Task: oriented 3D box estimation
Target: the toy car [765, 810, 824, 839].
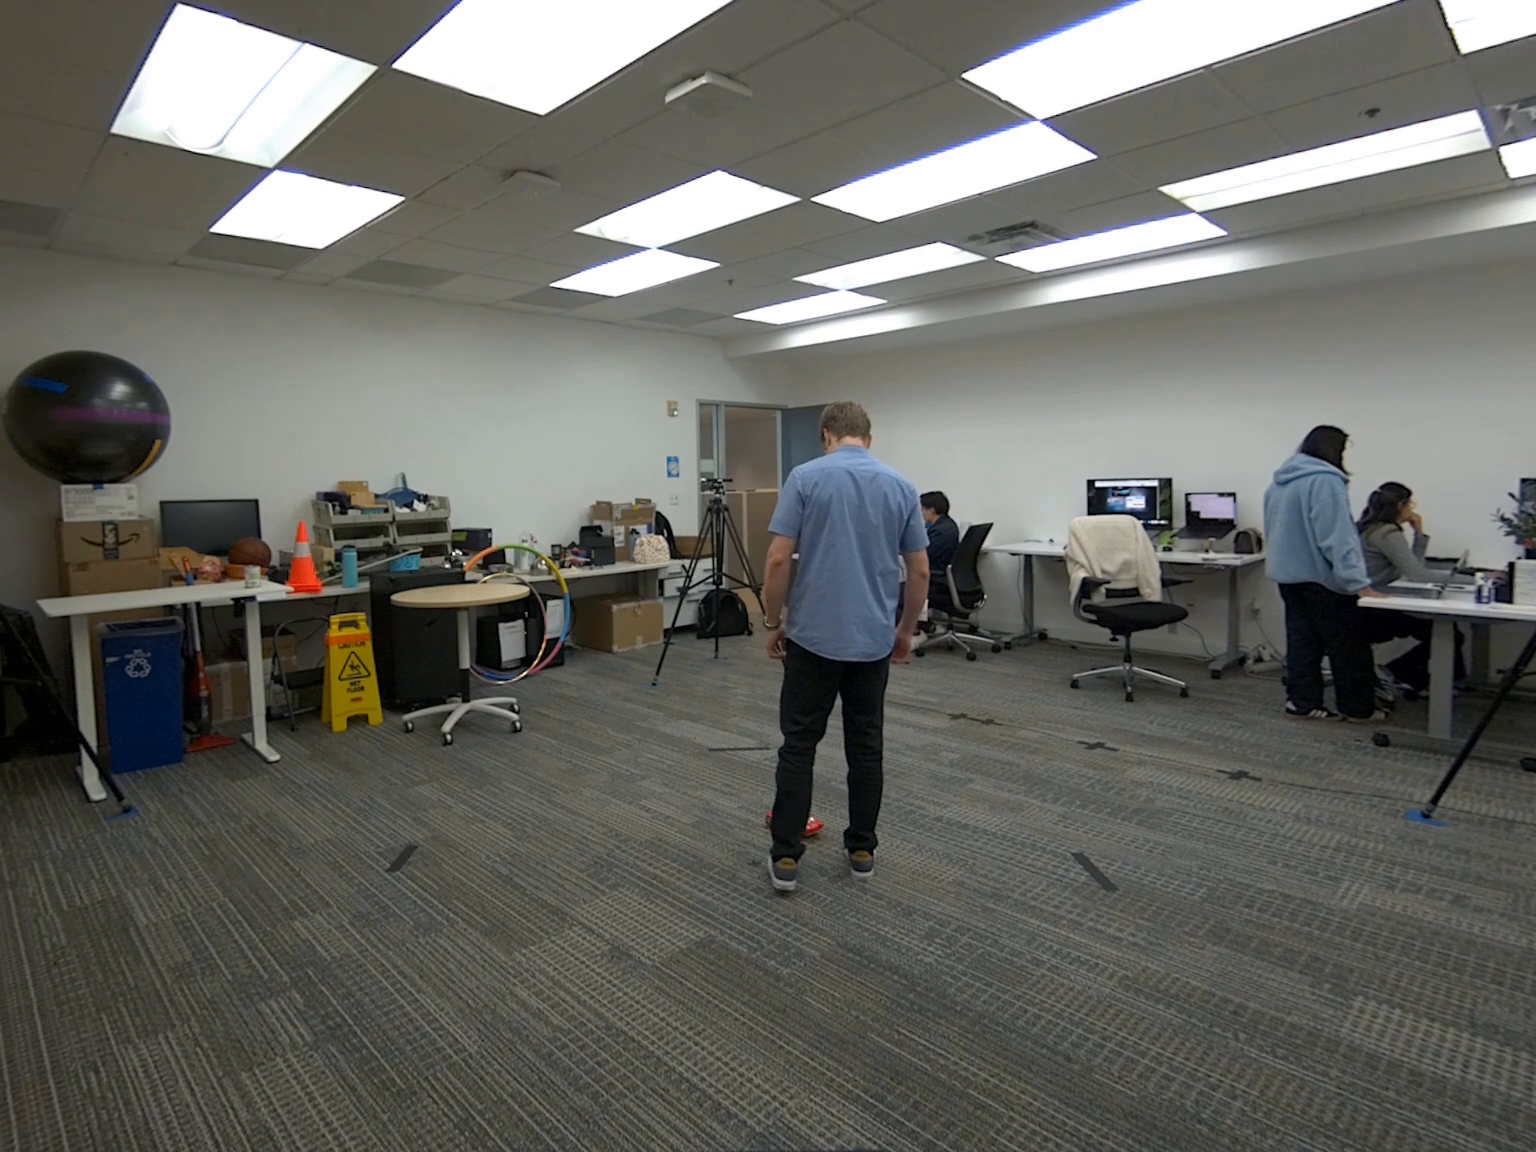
[{"bbox_3d":[0.115,0.979,3.391,0.127,0.083,0.260,-5,-4,-40],"label":"toy car"}]
